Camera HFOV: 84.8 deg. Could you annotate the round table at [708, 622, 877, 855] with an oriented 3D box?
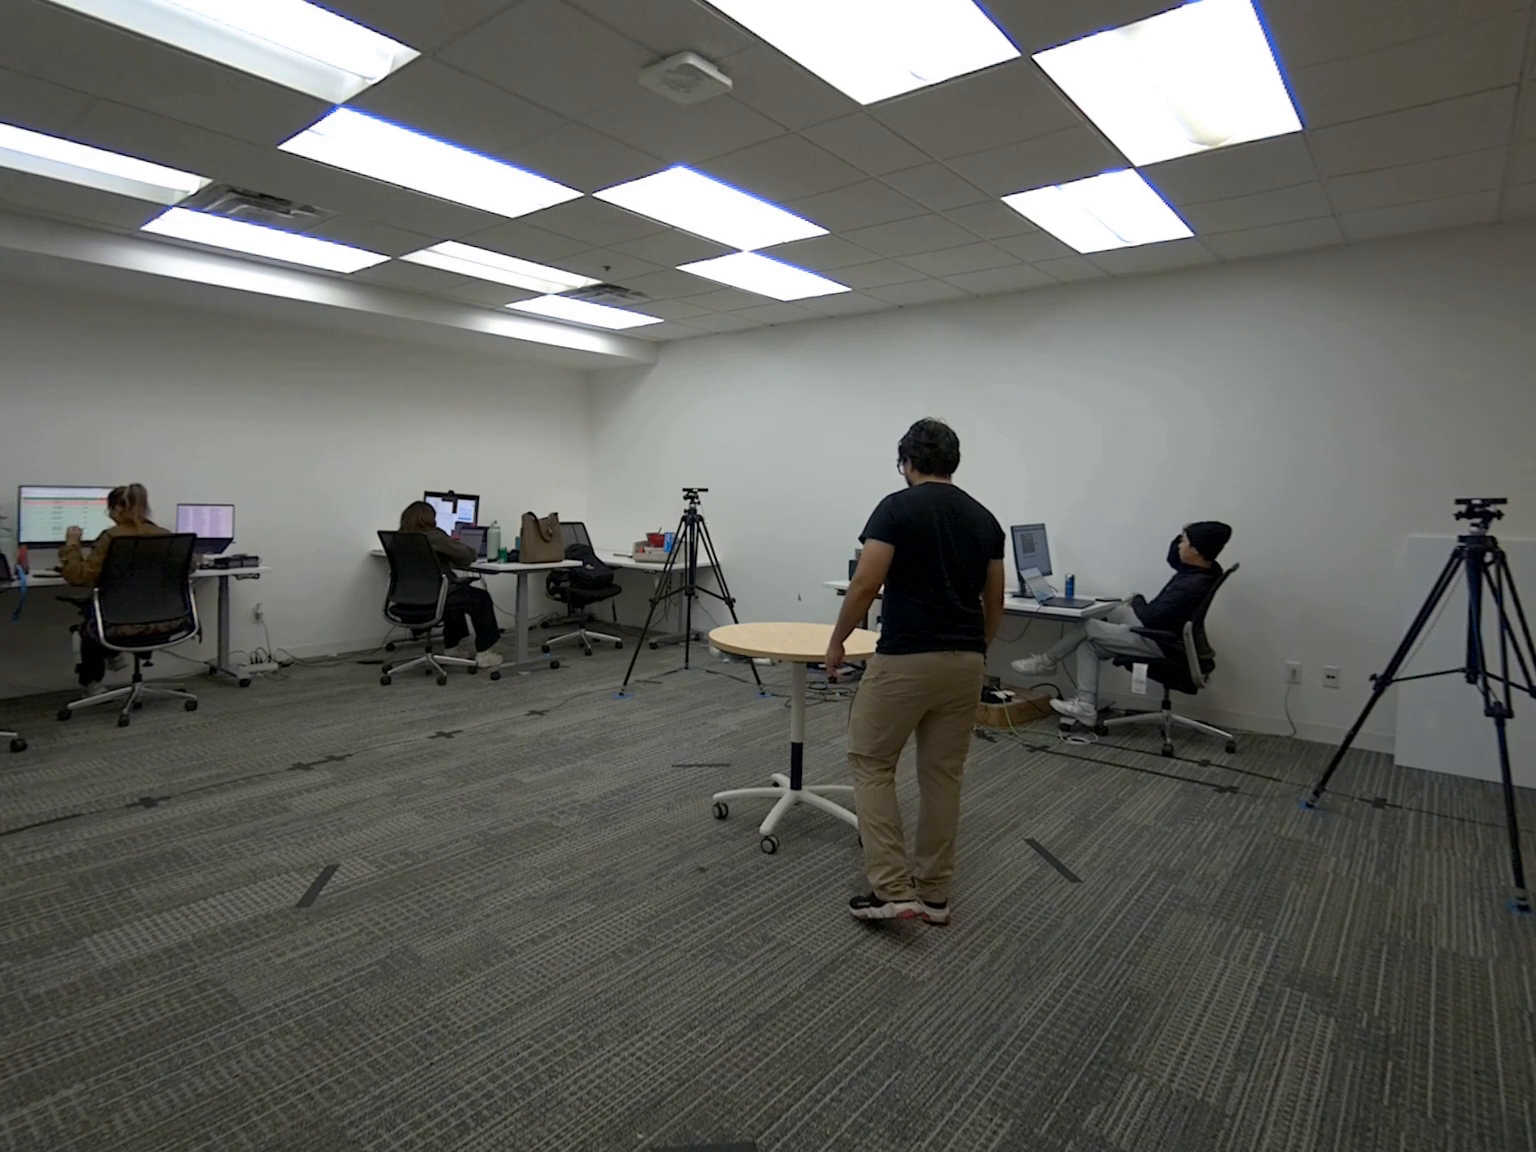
[{"bbox_3d":[0.101,0.639,3.565,0.784,0.784,0.789,1,4,-2],"label":"round table"}]
